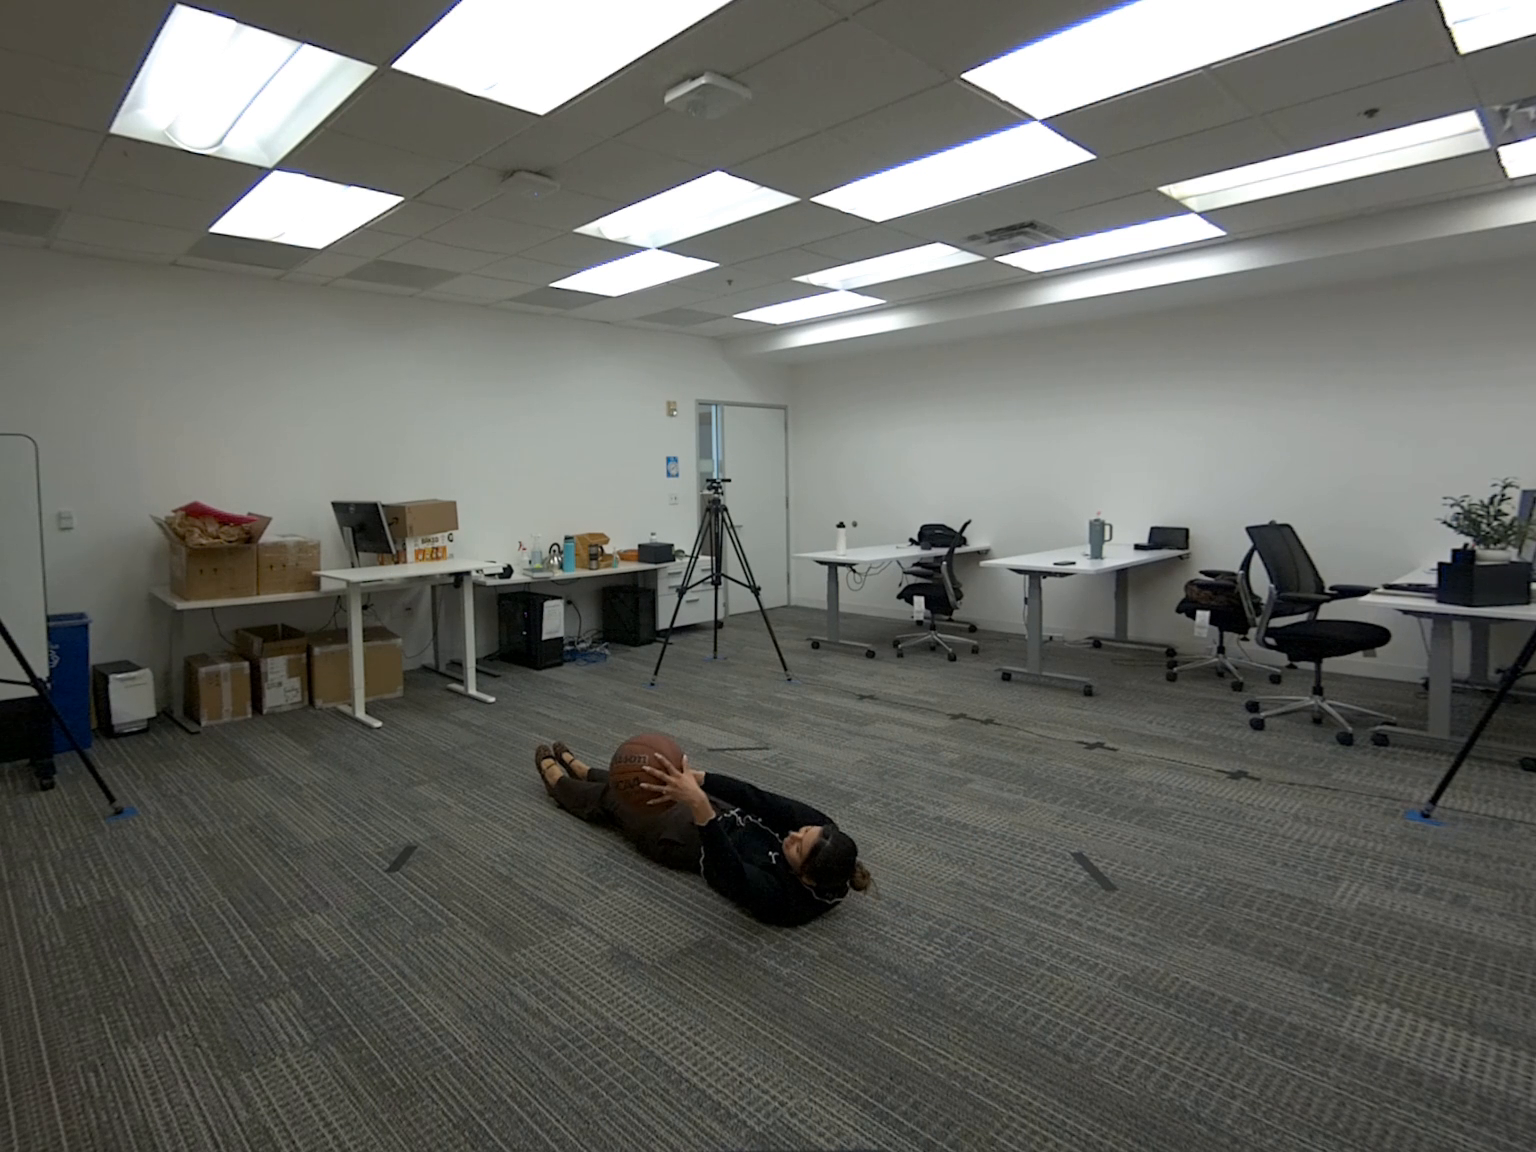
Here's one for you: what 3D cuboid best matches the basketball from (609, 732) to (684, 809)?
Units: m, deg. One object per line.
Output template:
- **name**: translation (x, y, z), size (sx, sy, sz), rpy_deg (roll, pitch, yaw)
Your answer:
- **basketball**: translation (-0.345, 0.591, 2.537), size (0.236, 0.235, 0.237), rpy_deg (-1, 5, -2)
